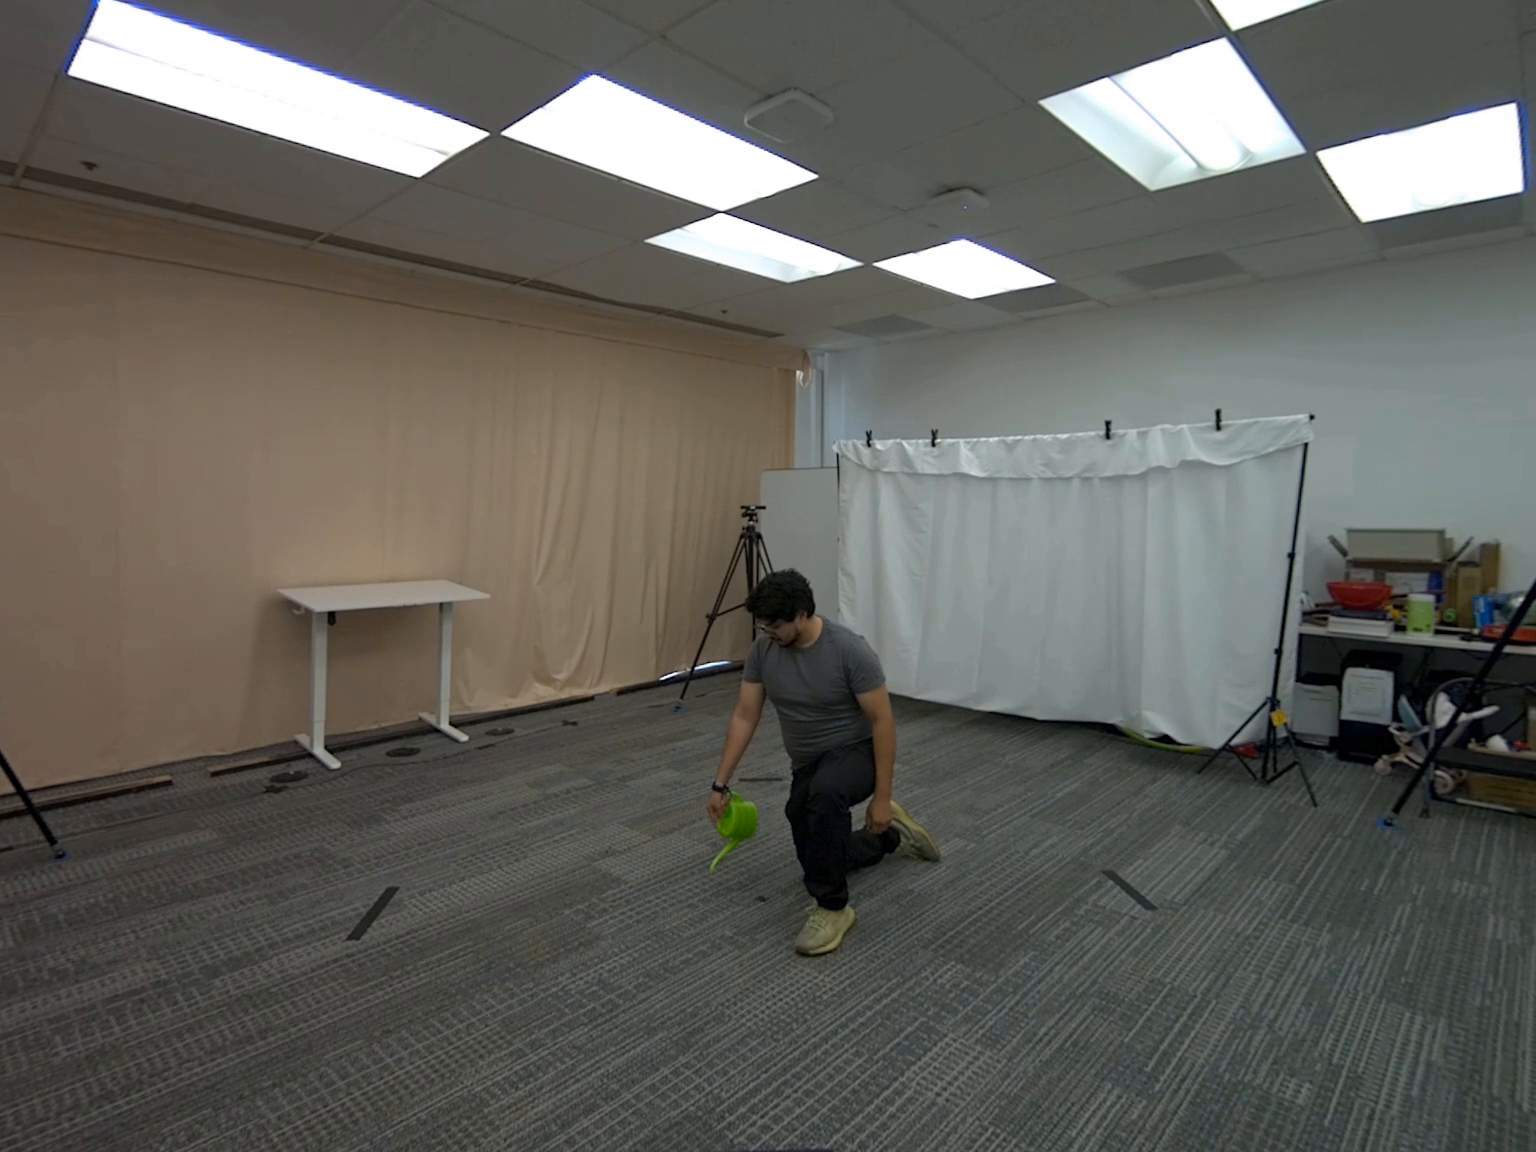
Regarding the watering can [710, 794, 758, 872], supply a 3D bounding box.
[{"bbox_3d":[-0.132,0.944,3.103,0.101,0.278,0.170,14,-5,44],"label":"watering can"}]
